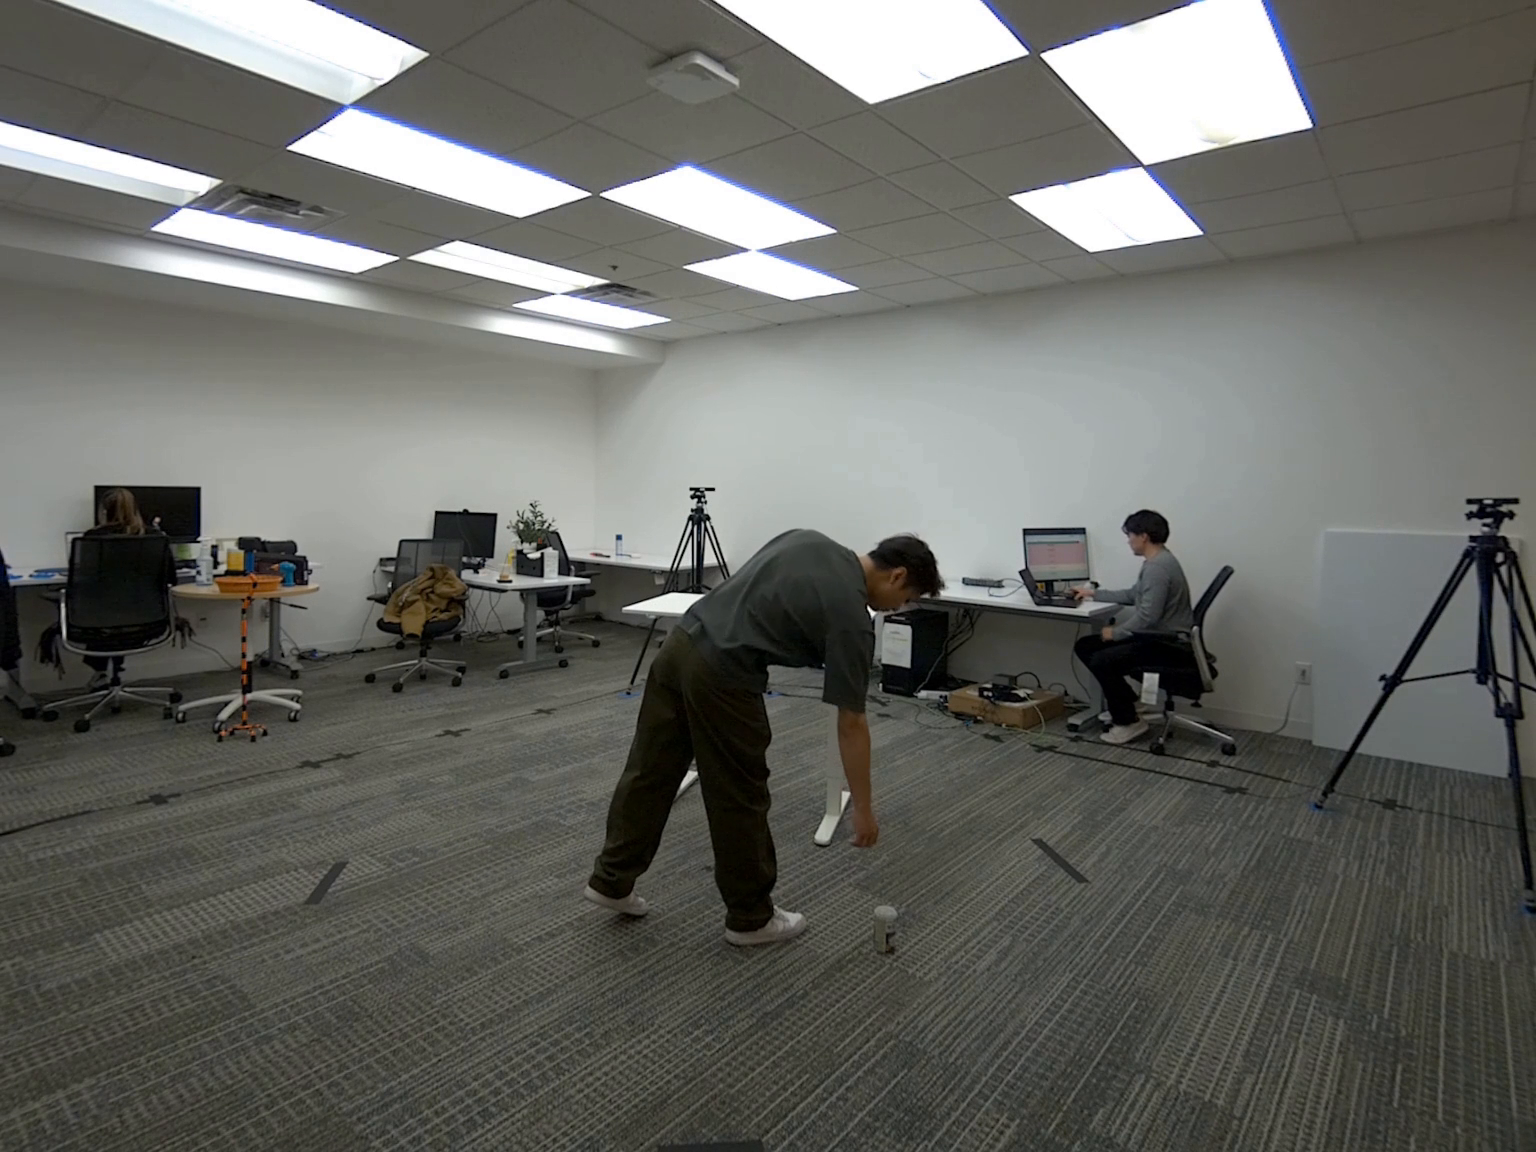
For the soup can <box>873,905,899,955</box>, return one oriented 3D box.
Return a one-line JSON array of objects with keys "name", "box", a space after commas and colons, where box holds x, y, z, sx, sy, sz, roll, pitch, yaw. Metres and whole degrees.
[{"name": "soup can", "box": [0.347, 1.079, 2.584, 0.067, 0.121, 0.068, 2, 7, -2]}]
